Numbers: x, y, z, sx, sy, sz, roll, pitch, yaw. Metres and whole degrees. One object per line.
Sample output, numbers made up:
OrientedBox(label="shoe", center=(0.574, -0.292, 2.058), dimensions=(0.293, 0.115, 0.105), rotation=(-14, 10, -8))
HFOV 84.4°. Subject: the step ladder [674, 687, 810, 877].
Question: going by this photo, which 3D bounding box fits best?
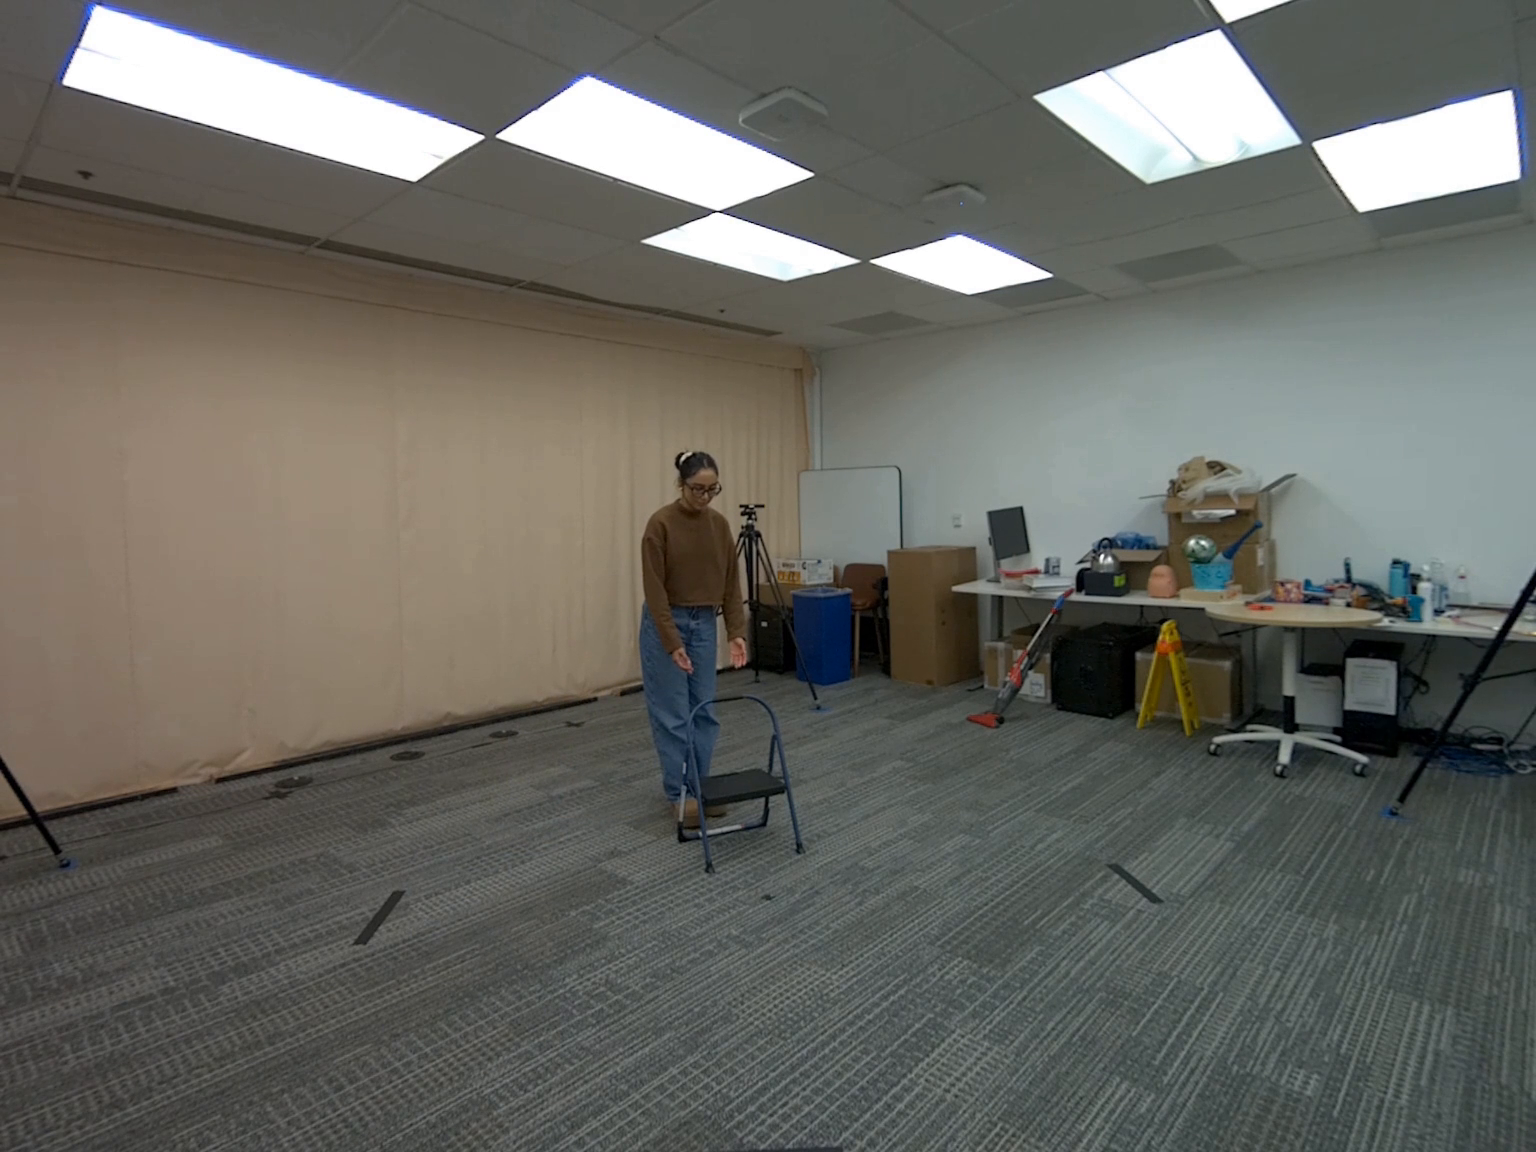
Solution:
OrientedBox(label="step ladder", center=(-0.117, 0.801, 3.412), dimensions=(0.420, 0.605, 0.358), rotation=(-2, 3, -26))
